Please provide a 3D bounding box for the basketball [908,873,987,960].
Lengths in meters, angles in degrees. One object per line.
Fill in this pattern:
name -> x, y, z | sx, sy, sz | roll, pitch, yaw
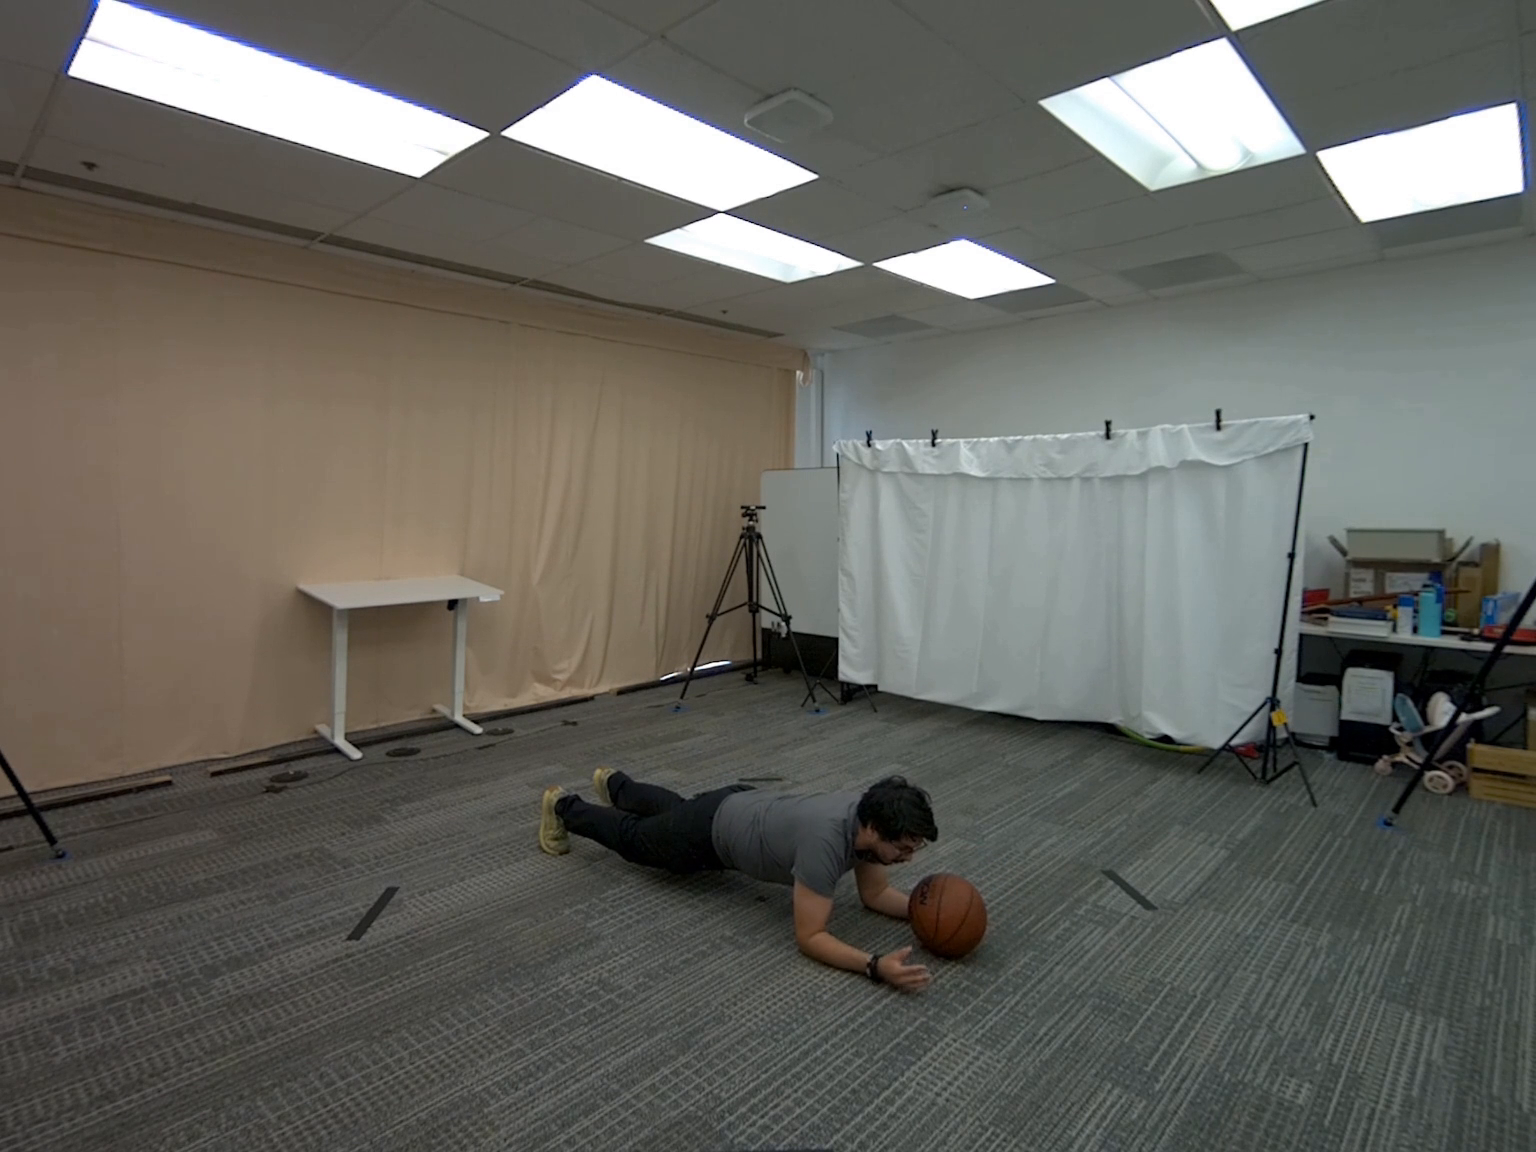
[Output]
basketball -> 0.565, 1.053, 2.619 | 0.236, 0.235, 0.237 | 0, 4, -2
